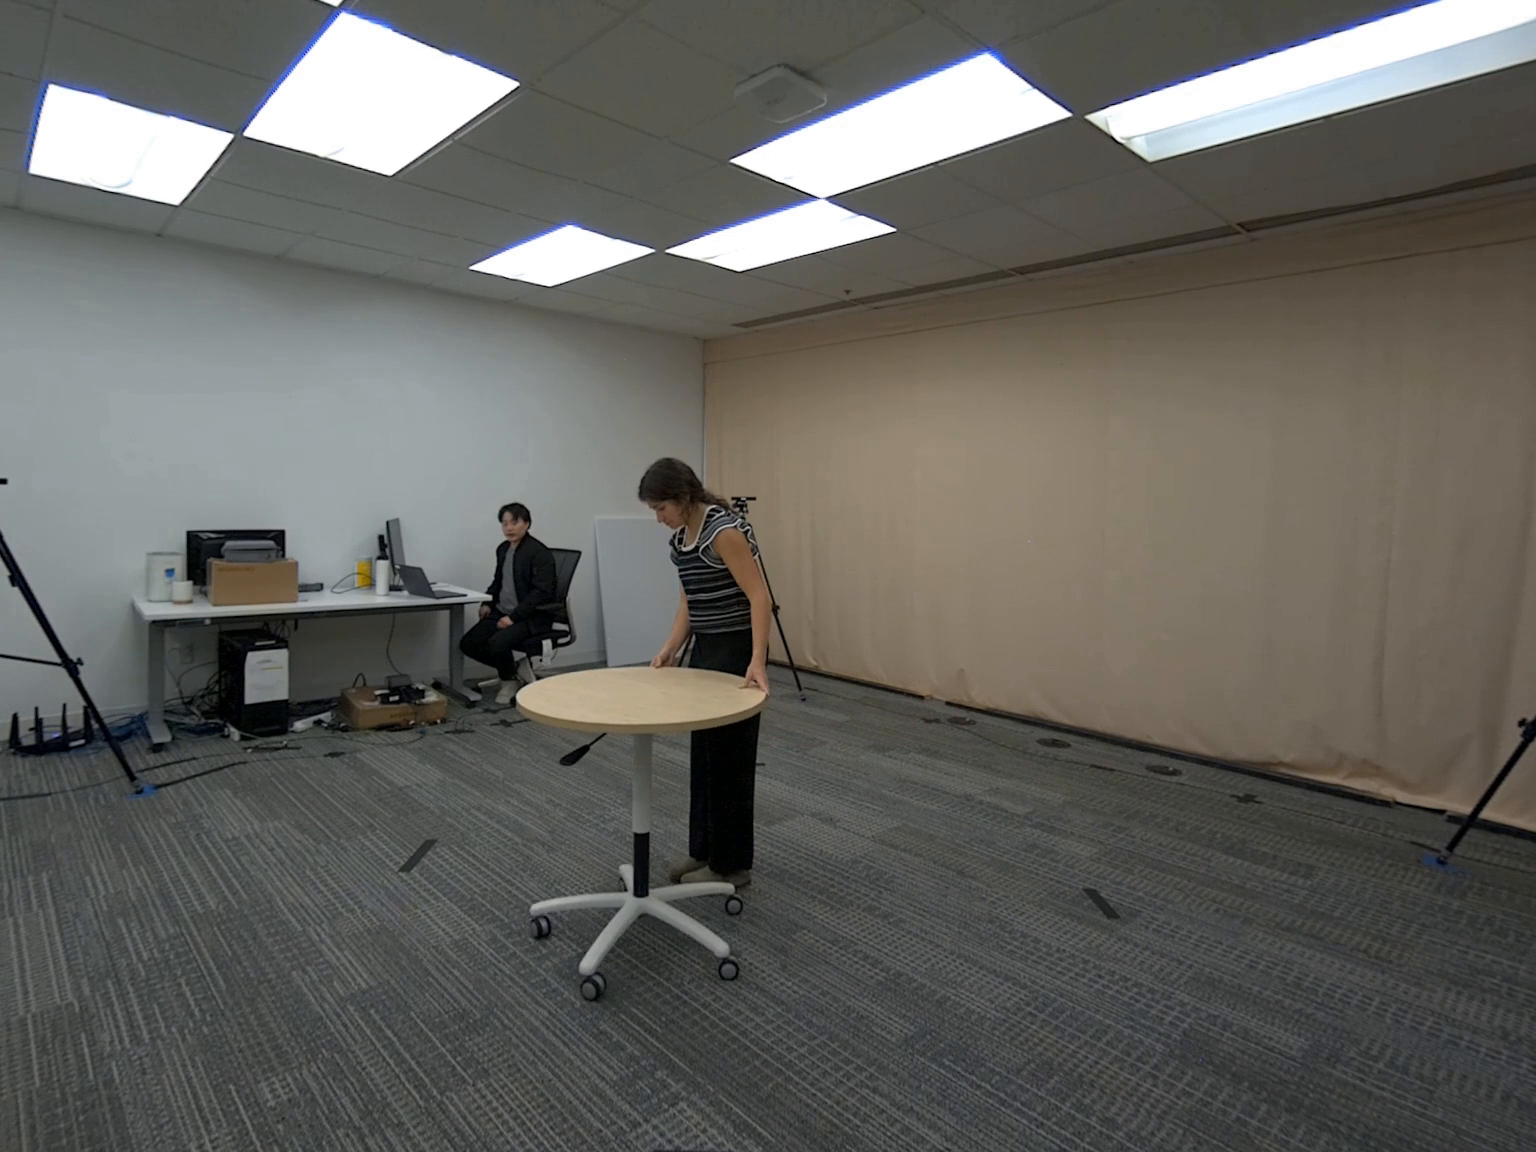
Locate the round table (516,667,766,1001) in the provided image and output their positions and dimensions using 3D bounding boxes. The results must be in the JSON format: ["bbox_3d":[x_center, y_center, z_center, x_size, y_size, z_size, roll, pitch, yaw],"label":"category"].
[{"bbox_3d":[-0.398,0.749,2.639,0.784,0.784,0.788,1,4,-1],"label":"round table"}]
